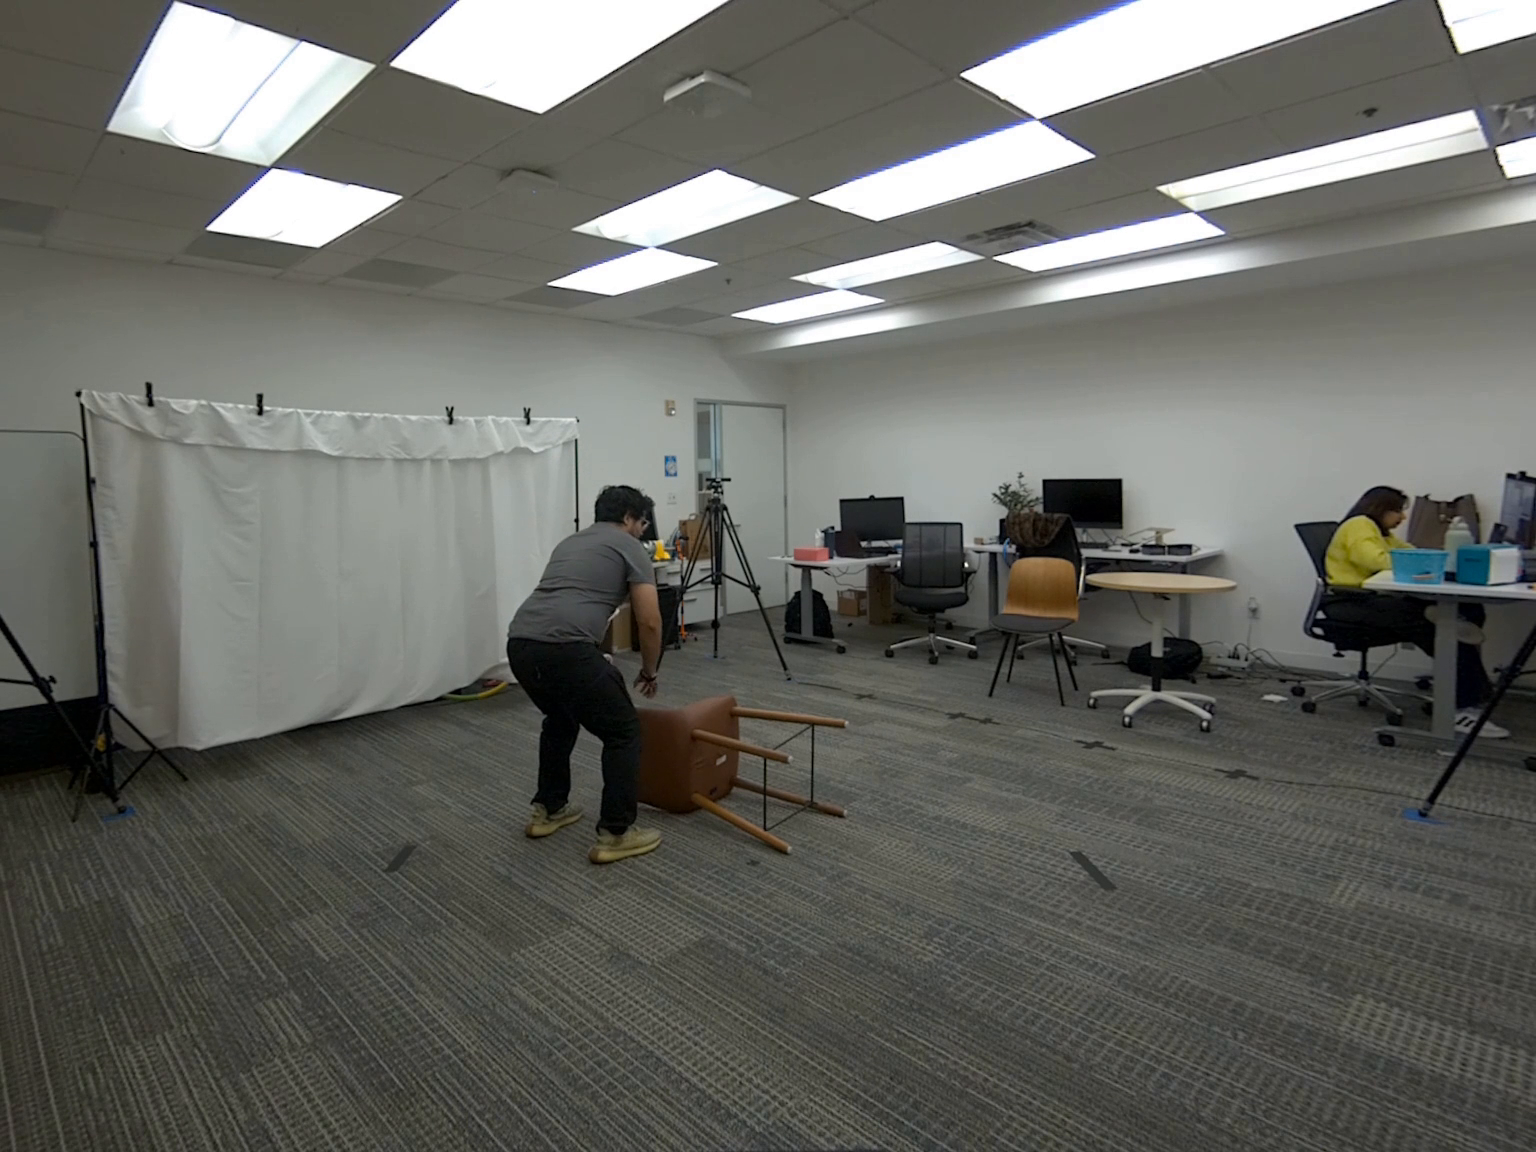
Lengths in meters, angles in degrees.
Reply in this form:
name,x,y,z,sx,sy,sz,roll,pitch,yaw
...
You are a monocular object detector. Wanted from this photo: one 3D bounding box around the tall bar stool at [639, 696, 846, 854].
name,x,y,z,sx,sy,sz,roll,pitch,yaw
tall bar stool,-0.159,0.779,3.576,0.916,0.453,0.457,5,10,34
